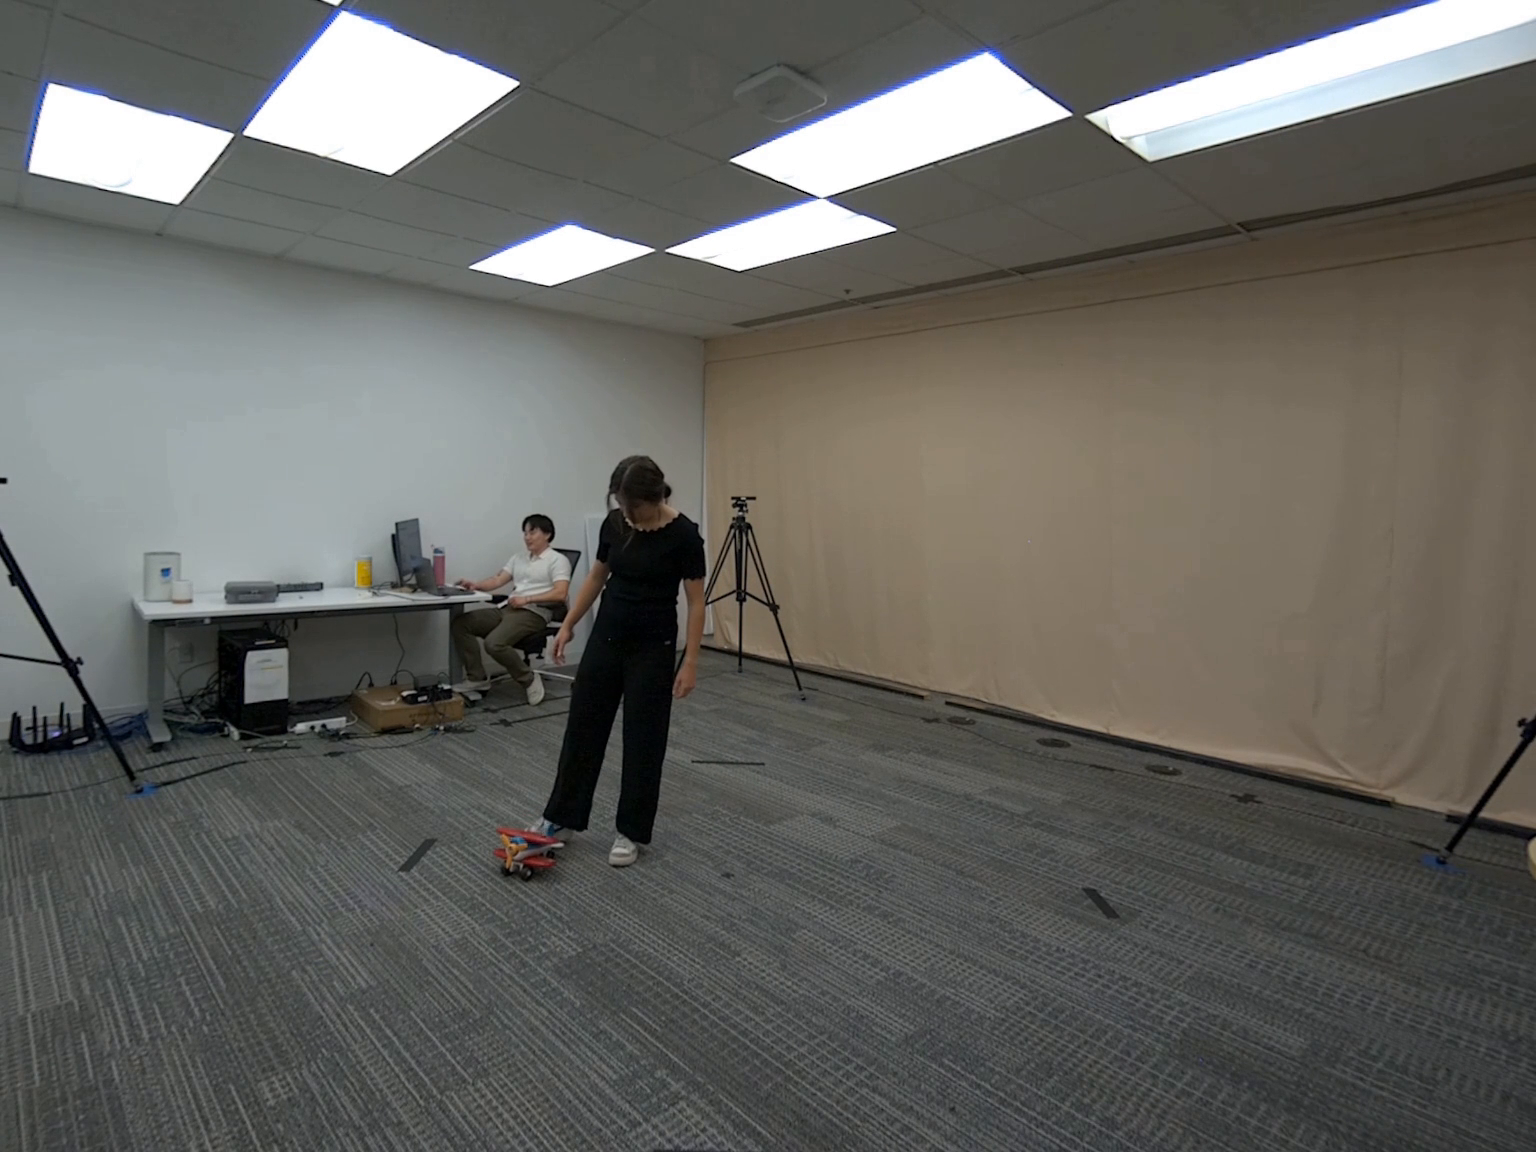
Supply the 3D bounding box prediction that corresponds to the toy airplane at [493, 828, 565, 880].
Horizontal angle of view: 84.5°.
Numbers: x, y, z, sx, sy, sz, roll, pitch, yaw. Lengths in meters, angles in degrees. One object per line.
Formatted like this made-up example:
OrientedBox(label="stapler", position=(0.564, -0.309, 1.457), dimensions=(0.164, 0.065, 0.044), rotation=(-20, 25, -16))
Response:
OrientedBox(label="toy airplane", position=(-0.909, 1.014, 3.127), dimensions=(0.250, 0.156, 0.262), rotation=(1, 6, -7))
